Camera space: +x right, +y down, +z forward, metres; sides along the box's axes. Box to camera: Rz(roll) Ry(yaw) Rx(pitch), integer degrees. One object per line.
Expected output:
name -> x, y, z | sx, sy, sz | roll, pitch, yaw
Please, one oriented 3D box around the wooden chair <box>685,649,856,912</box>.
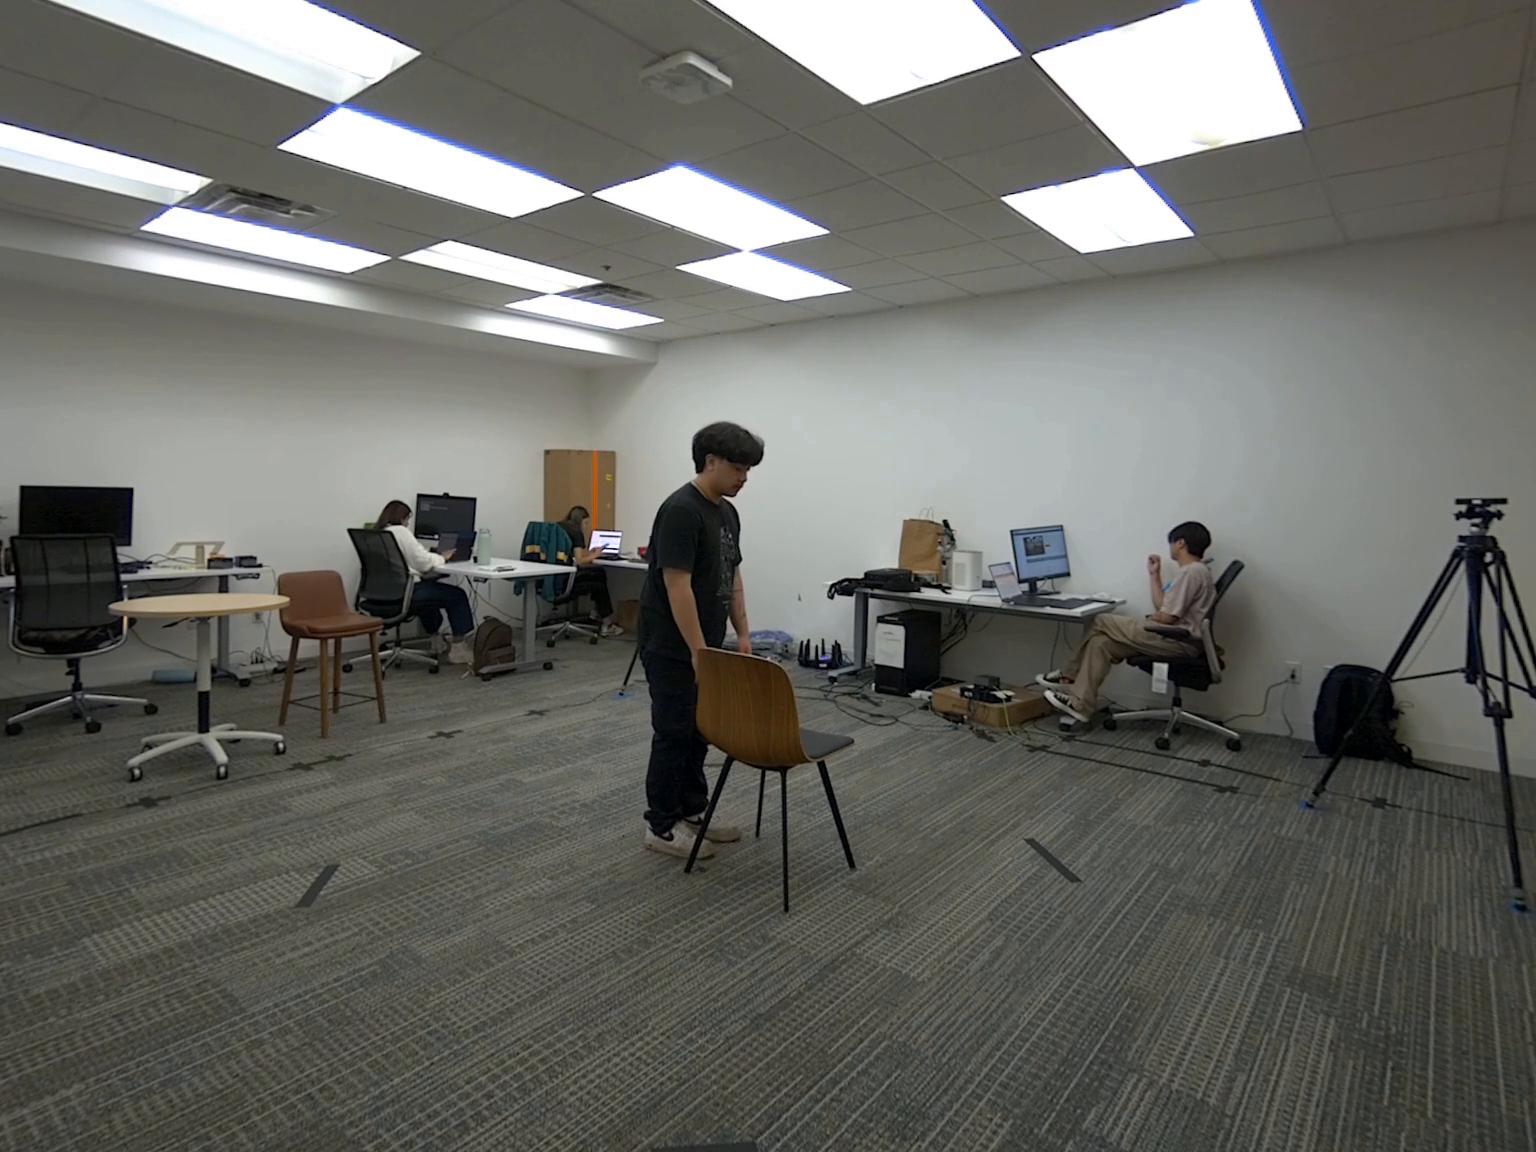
wooden chair -> 0.016, 0.647, 3.089 | 0.494, 0.872, 0.509 | 3, 8, 37
